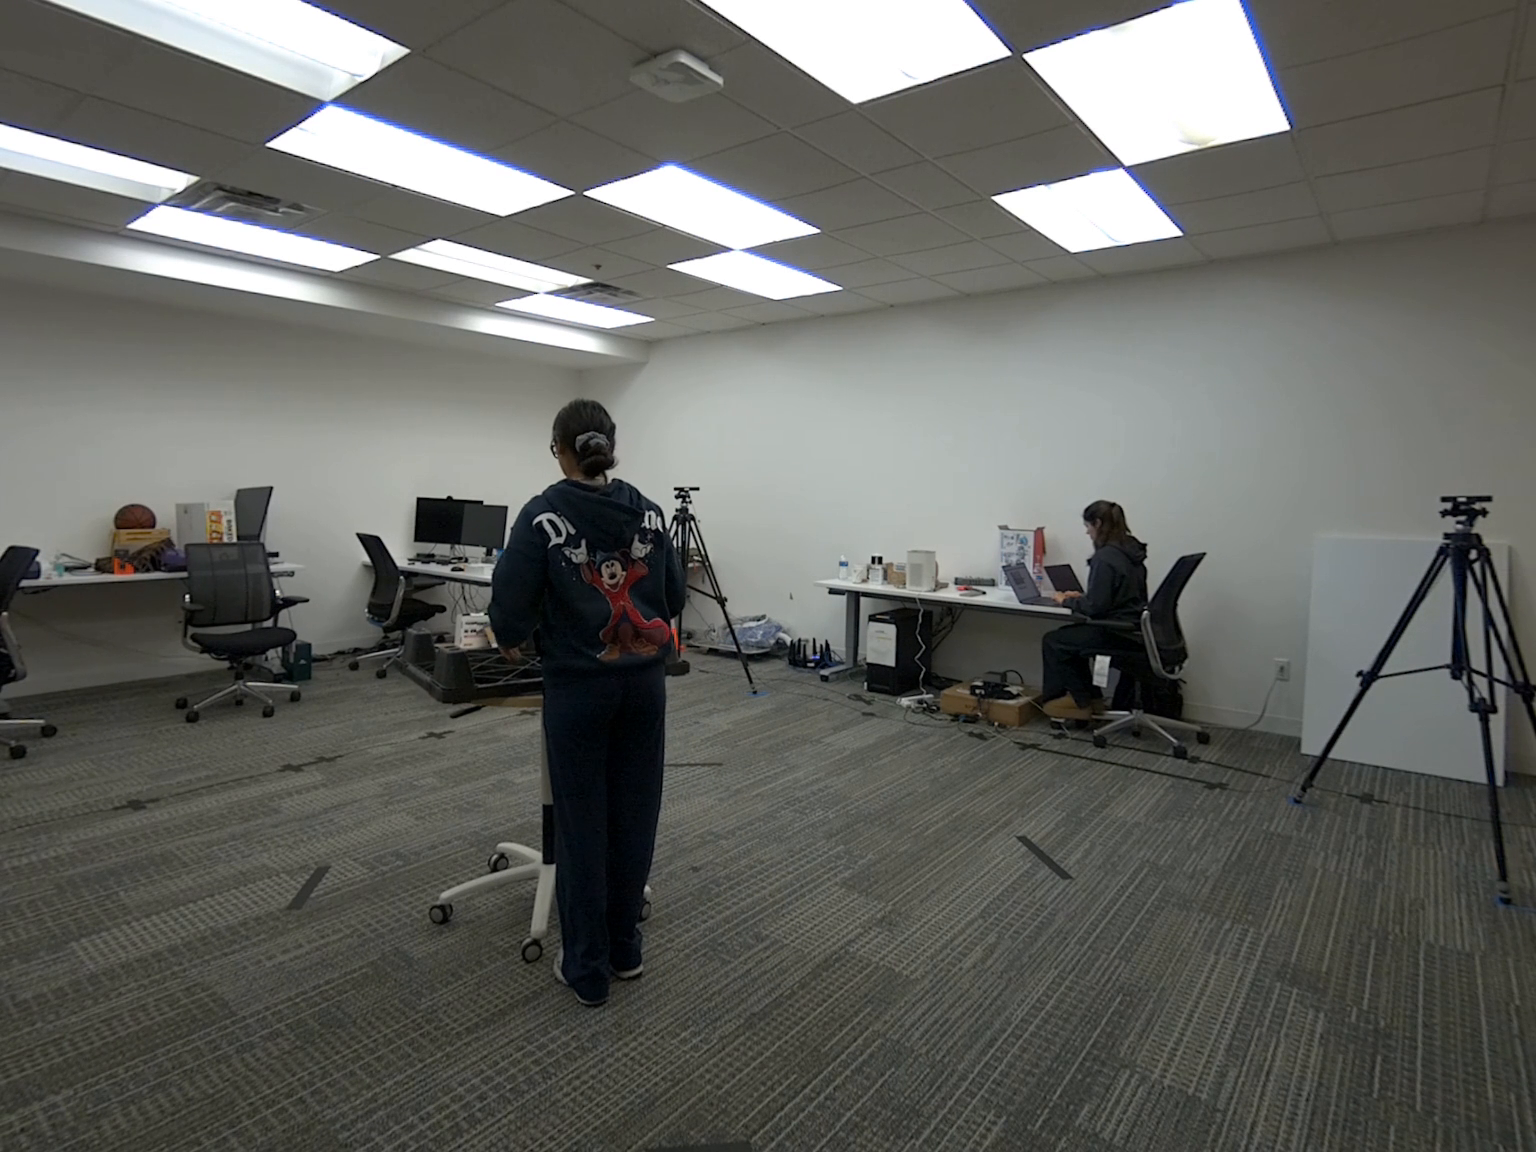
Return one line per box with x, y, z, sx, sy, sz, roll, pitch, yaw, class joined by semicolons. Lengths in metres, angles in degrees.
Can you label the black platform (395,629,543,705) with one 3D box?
-0.754;0.241;2.790;0.783;0.143;0.625;-4;7;-35;black platform
